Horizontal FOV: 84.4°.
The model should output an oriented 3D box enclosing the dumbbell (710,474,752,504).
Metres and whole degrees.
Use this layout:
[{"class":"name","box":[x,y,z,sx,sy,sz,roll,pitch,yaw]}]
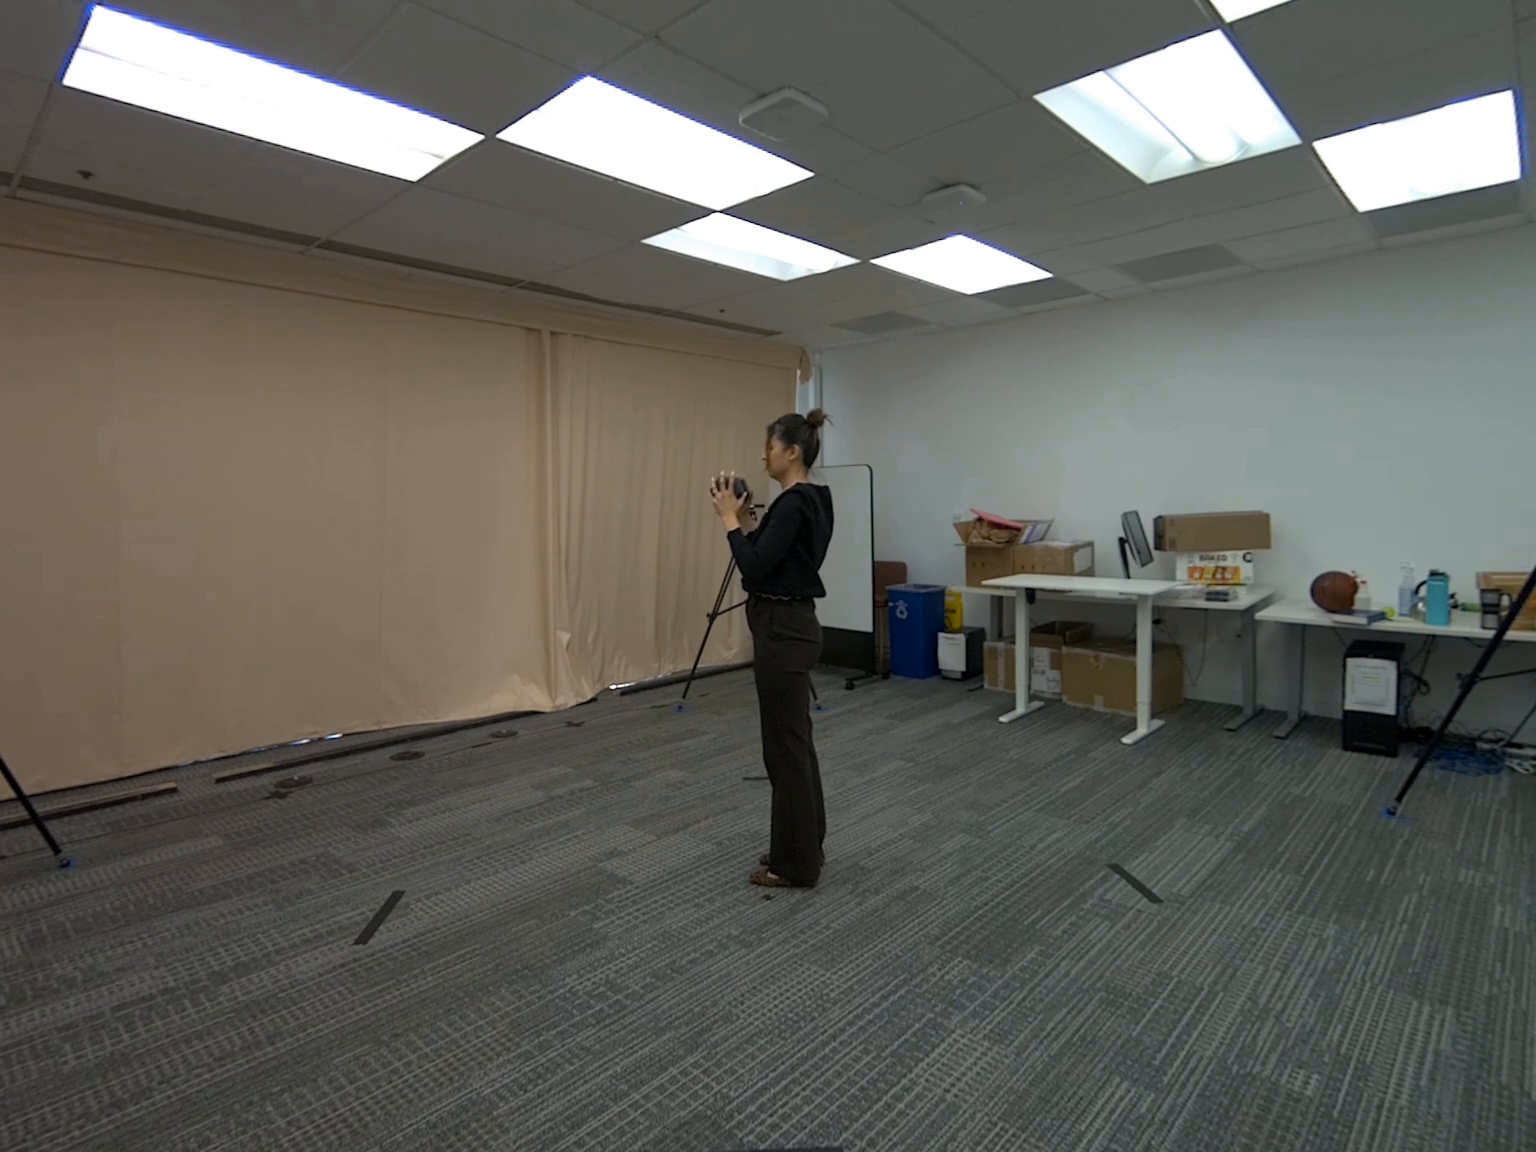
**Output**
[{"class":"dumbbell","box":[-0.124,-0.302,3.173,0.109,0.123,0.292,36,9,1]}]
